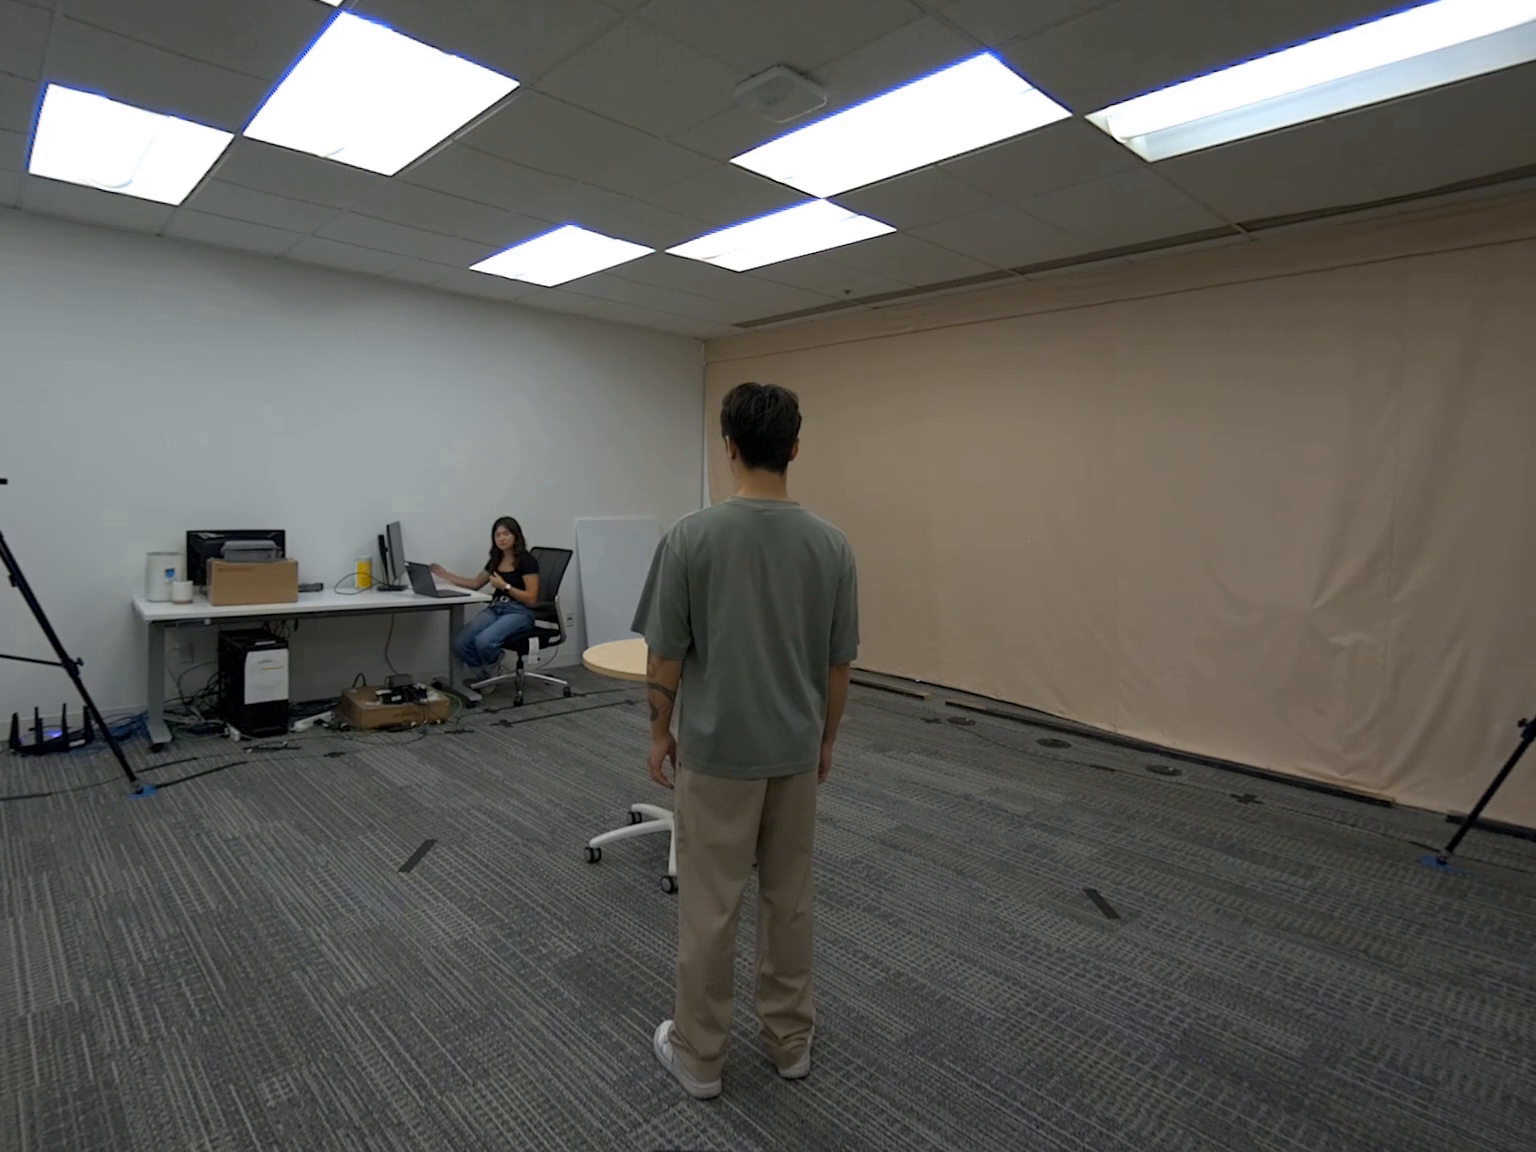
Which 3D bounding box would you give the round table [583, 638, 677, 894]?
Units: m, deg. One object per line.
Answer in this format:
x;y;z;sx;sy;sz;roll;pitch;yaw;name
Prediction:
-0.334;0.697;3.267;0.784;0.784;0.788;2;5;-2;round table
